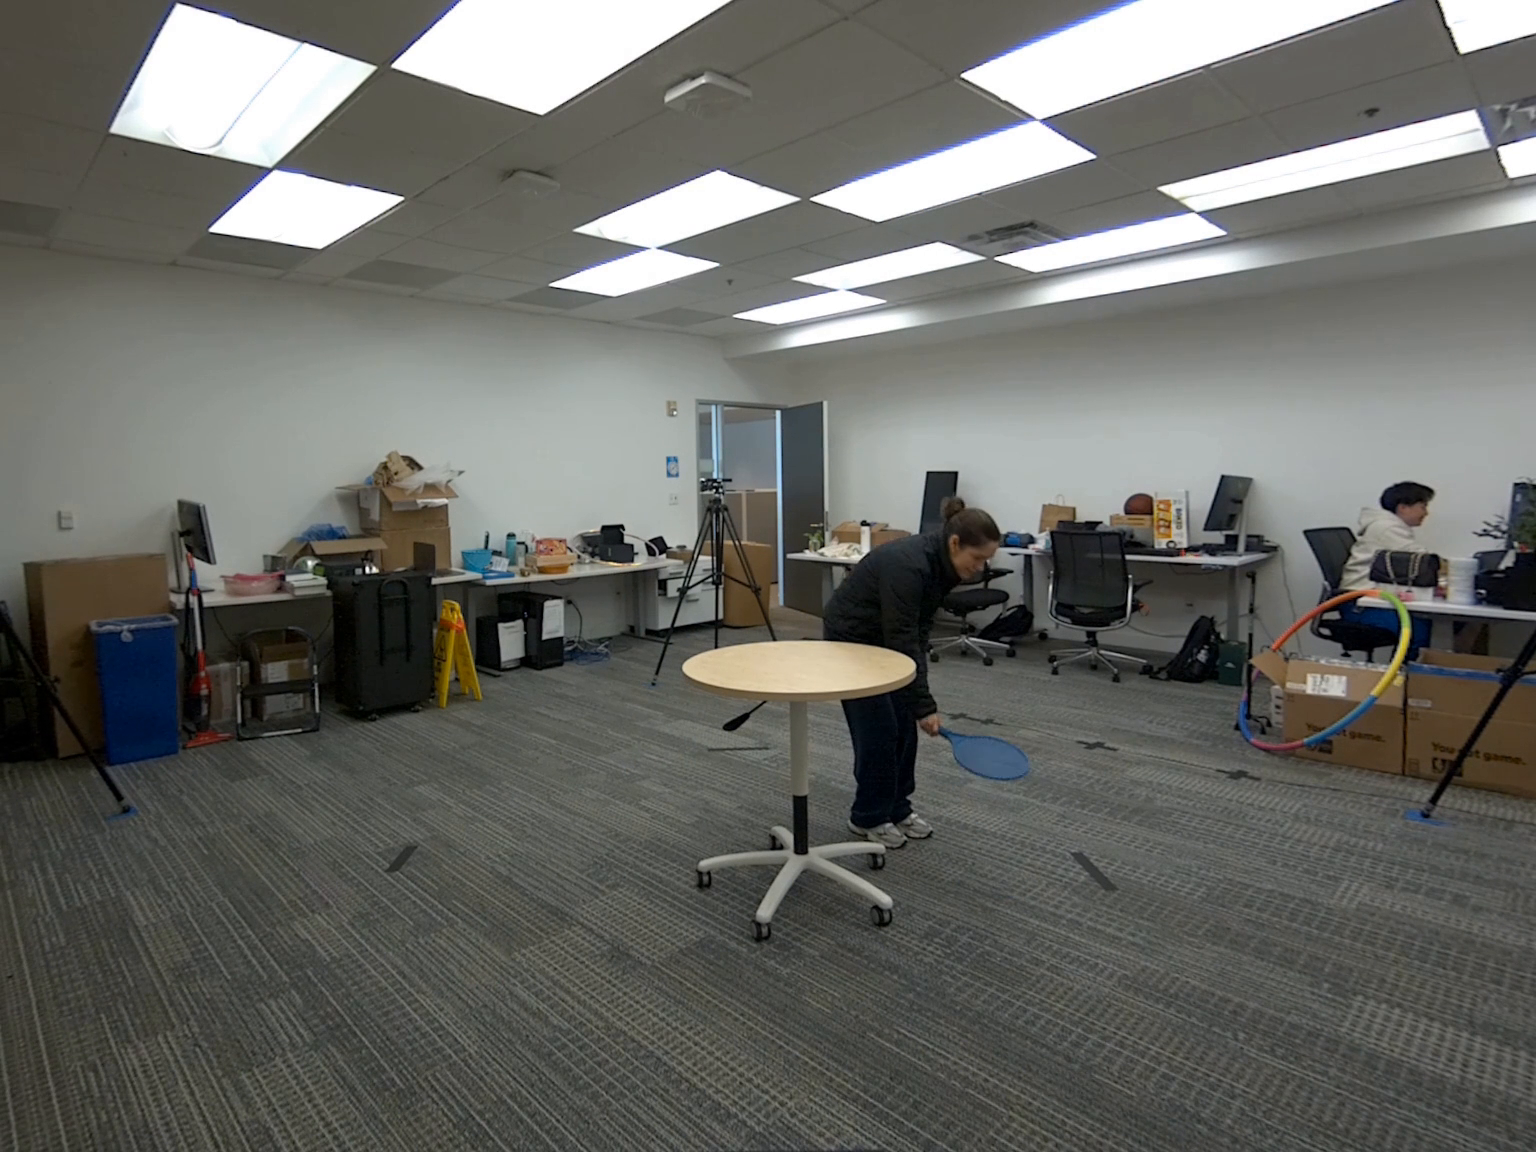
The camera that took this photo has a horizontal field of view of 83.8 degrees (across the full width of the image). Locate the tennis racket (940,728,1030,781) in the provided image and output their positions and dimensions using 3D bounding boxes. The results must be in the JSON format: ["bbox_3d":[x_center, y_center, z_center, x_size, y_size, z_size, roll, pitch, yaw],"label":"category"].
[{"bbox_3d":[0.694,0.590,2.980,0.210,0.031,0.449,-20,26,-31],"label":"tennis racket"}]
